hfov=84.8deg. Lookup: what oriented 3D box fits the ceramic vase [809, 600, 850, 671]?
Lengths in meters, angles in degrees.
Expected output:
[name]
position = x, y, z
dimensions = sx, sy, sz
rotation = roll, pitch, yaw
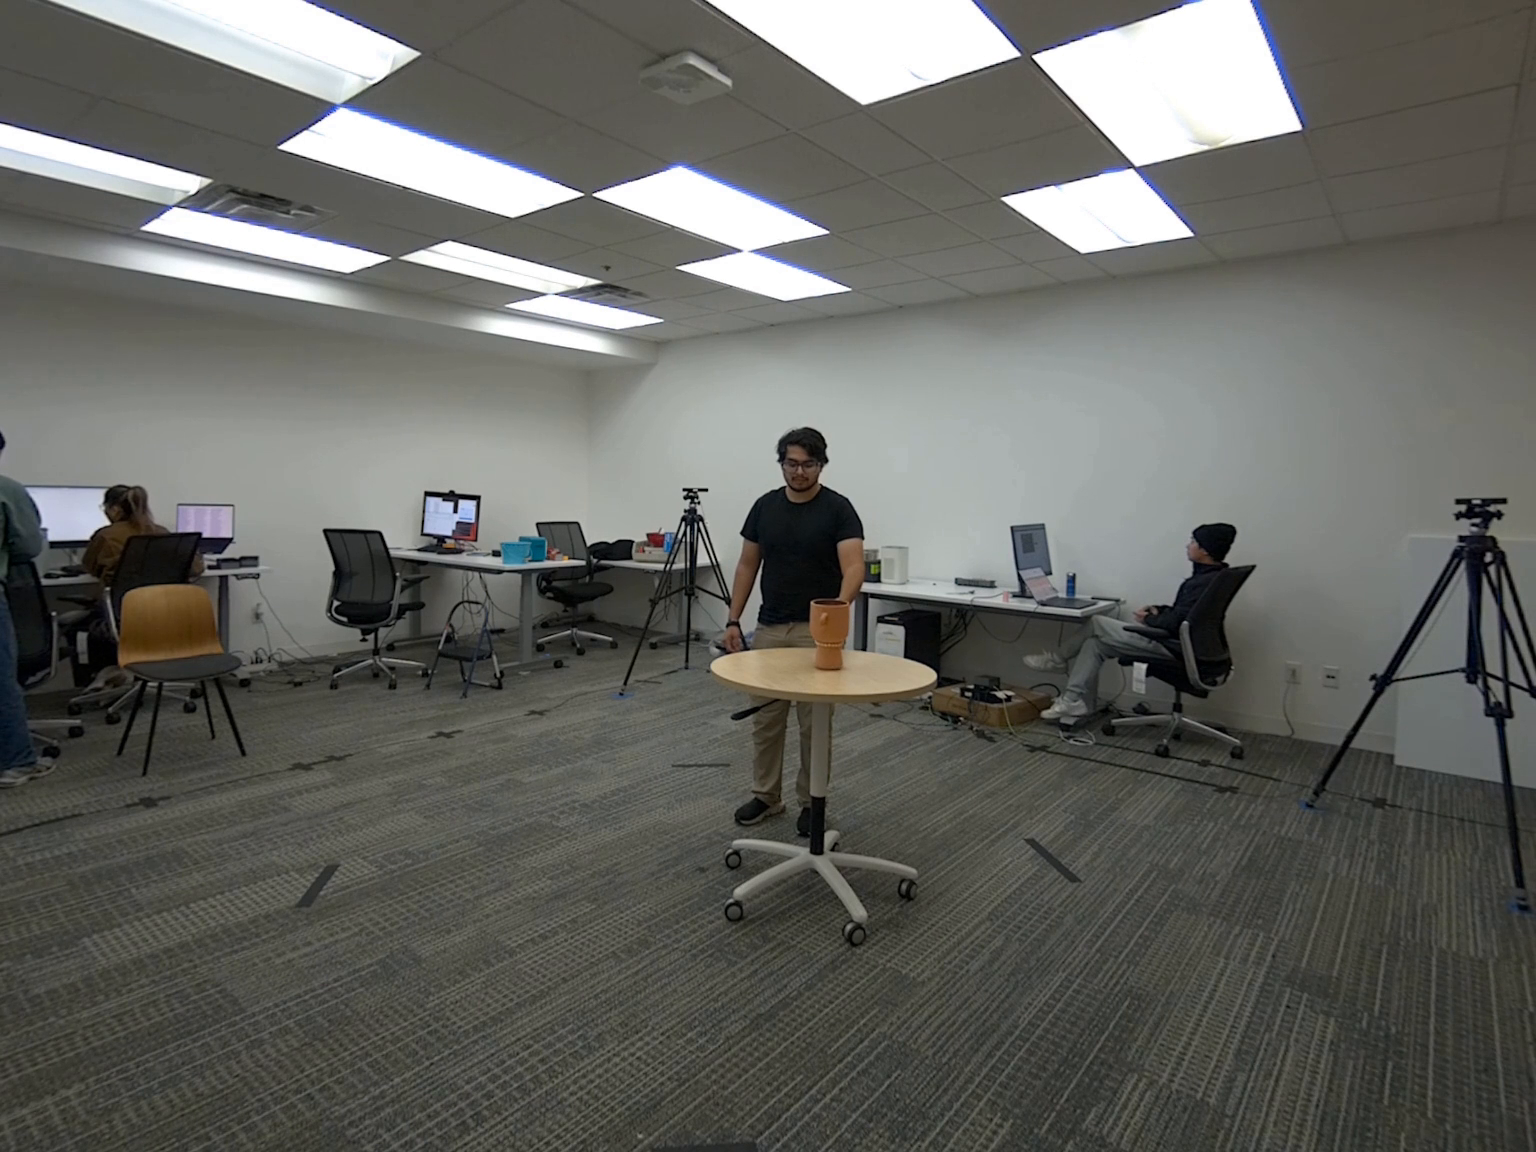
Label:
[ceramic vase]
position = 0.201, 0.194, 2.910
dimensions = 0.154, 0.218, 0.139
rotation = -5, 8, -34
